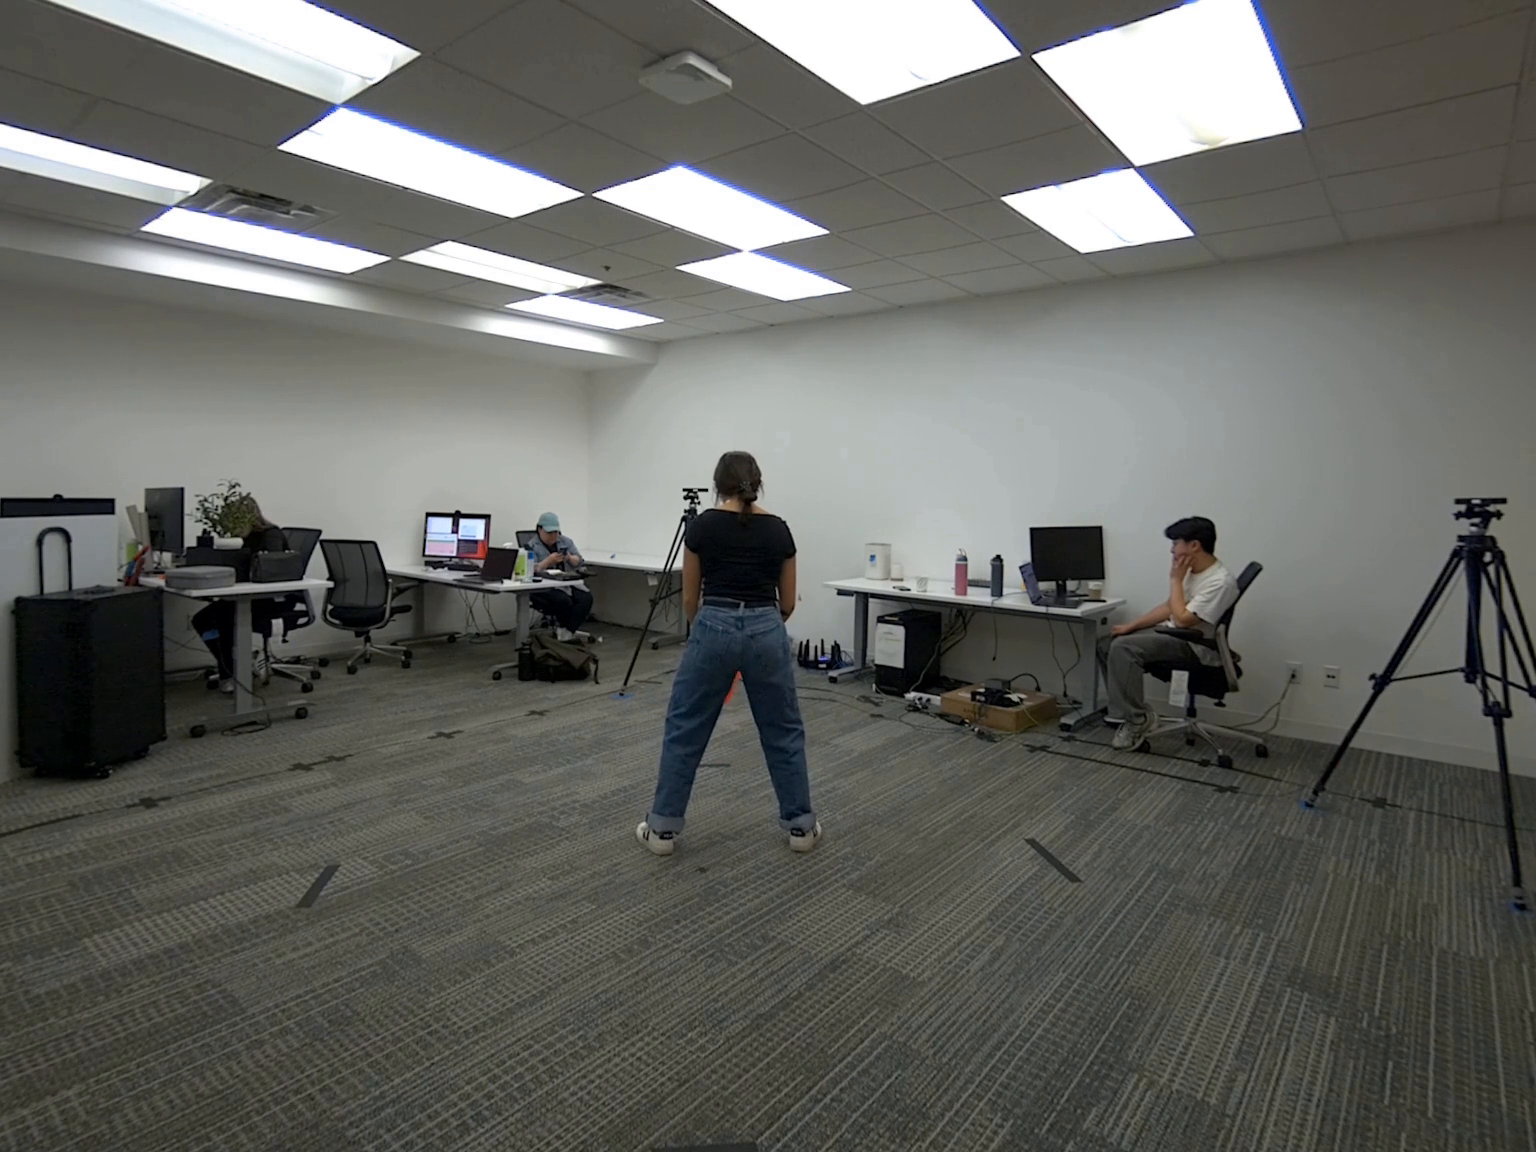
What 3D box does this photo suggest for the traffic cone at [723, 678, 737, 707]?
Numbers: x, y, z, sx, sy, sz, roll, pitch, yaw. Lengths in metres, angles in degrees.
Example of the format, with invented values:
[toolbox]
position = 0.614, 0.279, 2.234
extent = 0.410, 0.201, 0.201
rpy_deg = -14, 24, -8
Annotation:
[traffic cone]
position = -0.166, 0.418, 3.660
extent = 0.201, 0.375, 0.212
rpy_deg = -2, 46, -14
